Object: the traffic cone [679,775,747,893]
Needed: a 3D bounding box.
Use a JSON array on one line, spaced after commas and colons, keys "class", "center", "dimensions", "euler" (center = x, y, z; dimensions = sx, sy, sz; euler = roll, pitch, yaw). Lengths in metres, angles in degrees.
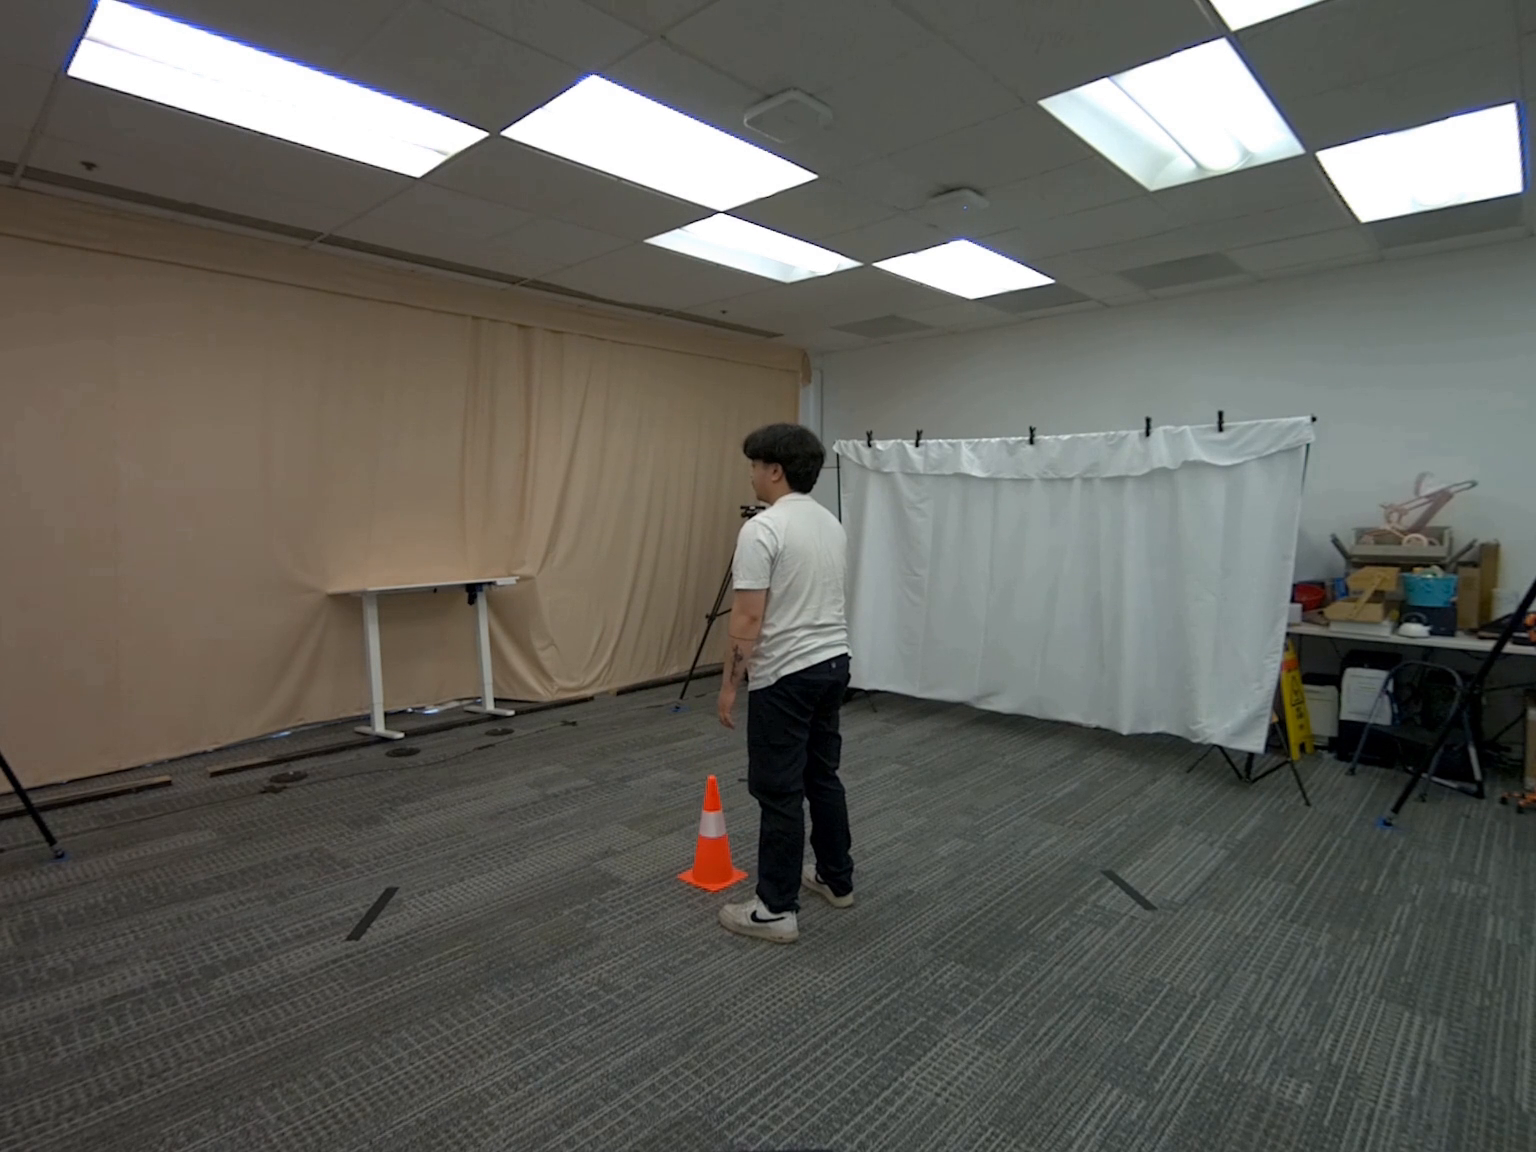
[{"class": "traffic cone", "center": [-0.215, 0.947, 3.157], "dimensions": [0.210, 0.383, 0.199], "euler": [1, 4, 36]}]
